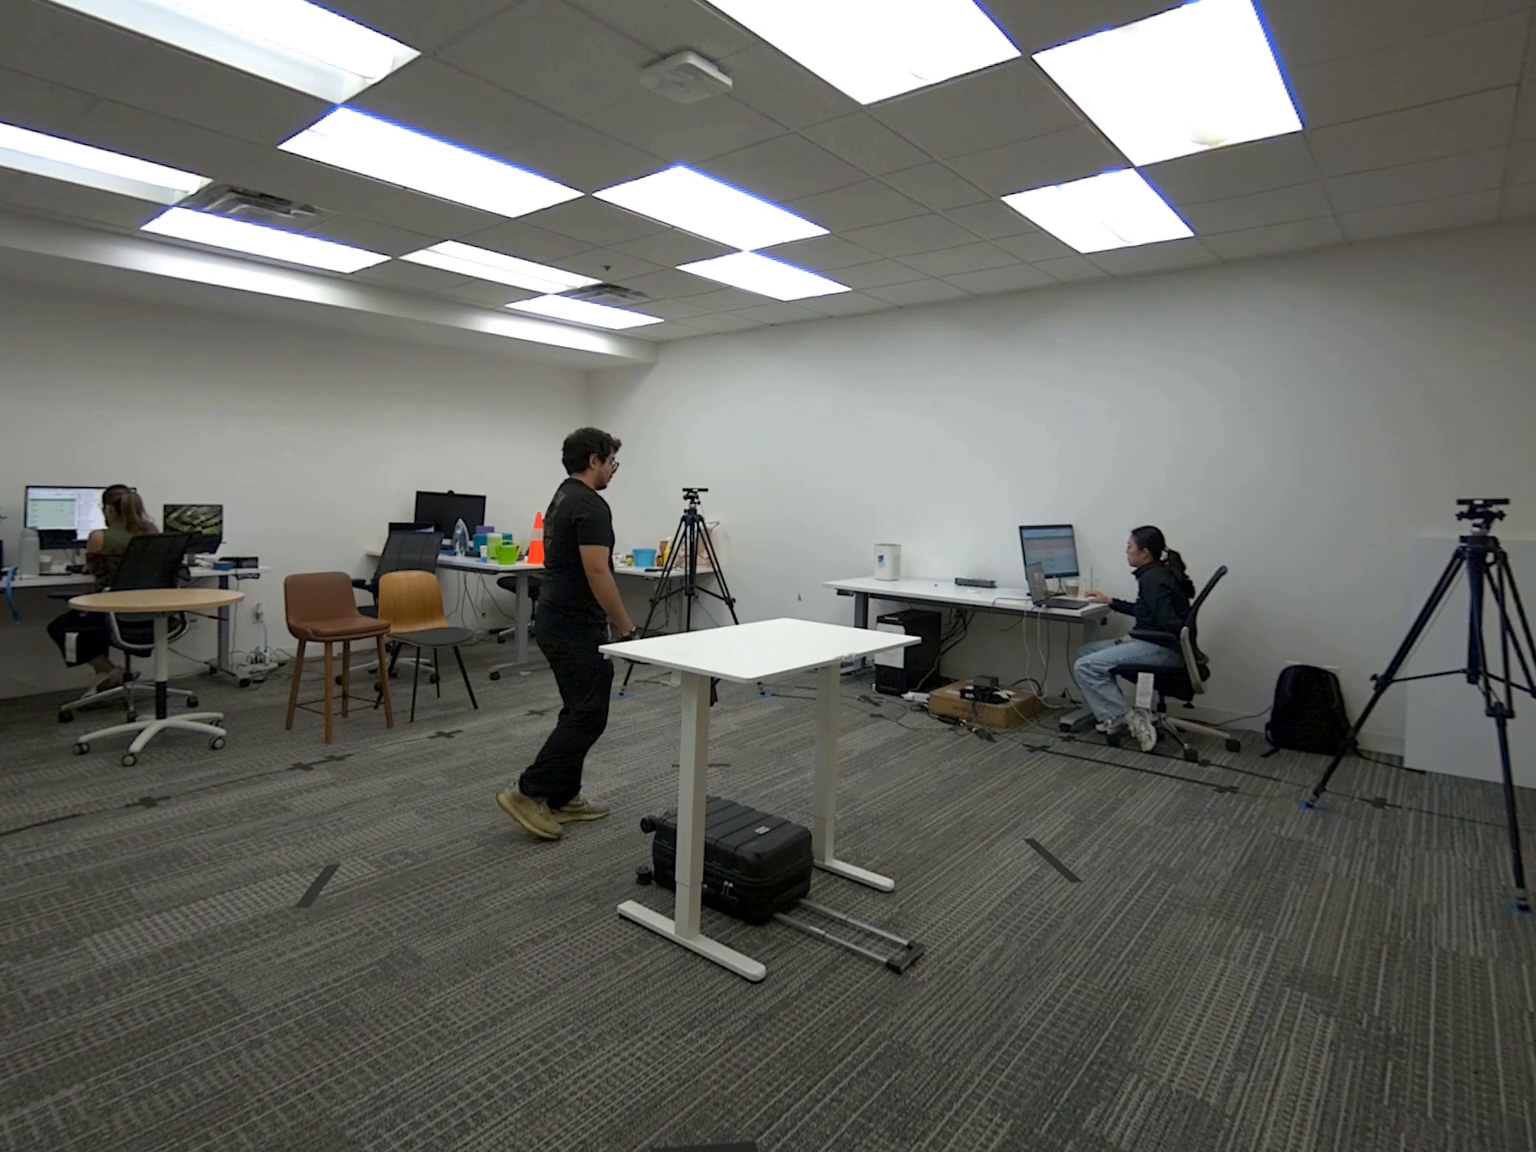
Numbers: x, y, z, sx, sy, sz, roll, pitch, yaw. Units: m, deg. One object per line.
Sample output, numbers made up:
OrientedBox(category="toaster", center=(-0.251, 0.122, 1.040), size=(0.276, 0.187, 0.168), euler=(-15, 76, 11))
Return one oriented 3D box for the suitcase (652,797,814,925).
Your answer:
OrientedBox(category="suitcase", center=(0.025, 0.979, 2.825), size=(1.011, 0.256, 0.372), euler=(4, 4, 38))
